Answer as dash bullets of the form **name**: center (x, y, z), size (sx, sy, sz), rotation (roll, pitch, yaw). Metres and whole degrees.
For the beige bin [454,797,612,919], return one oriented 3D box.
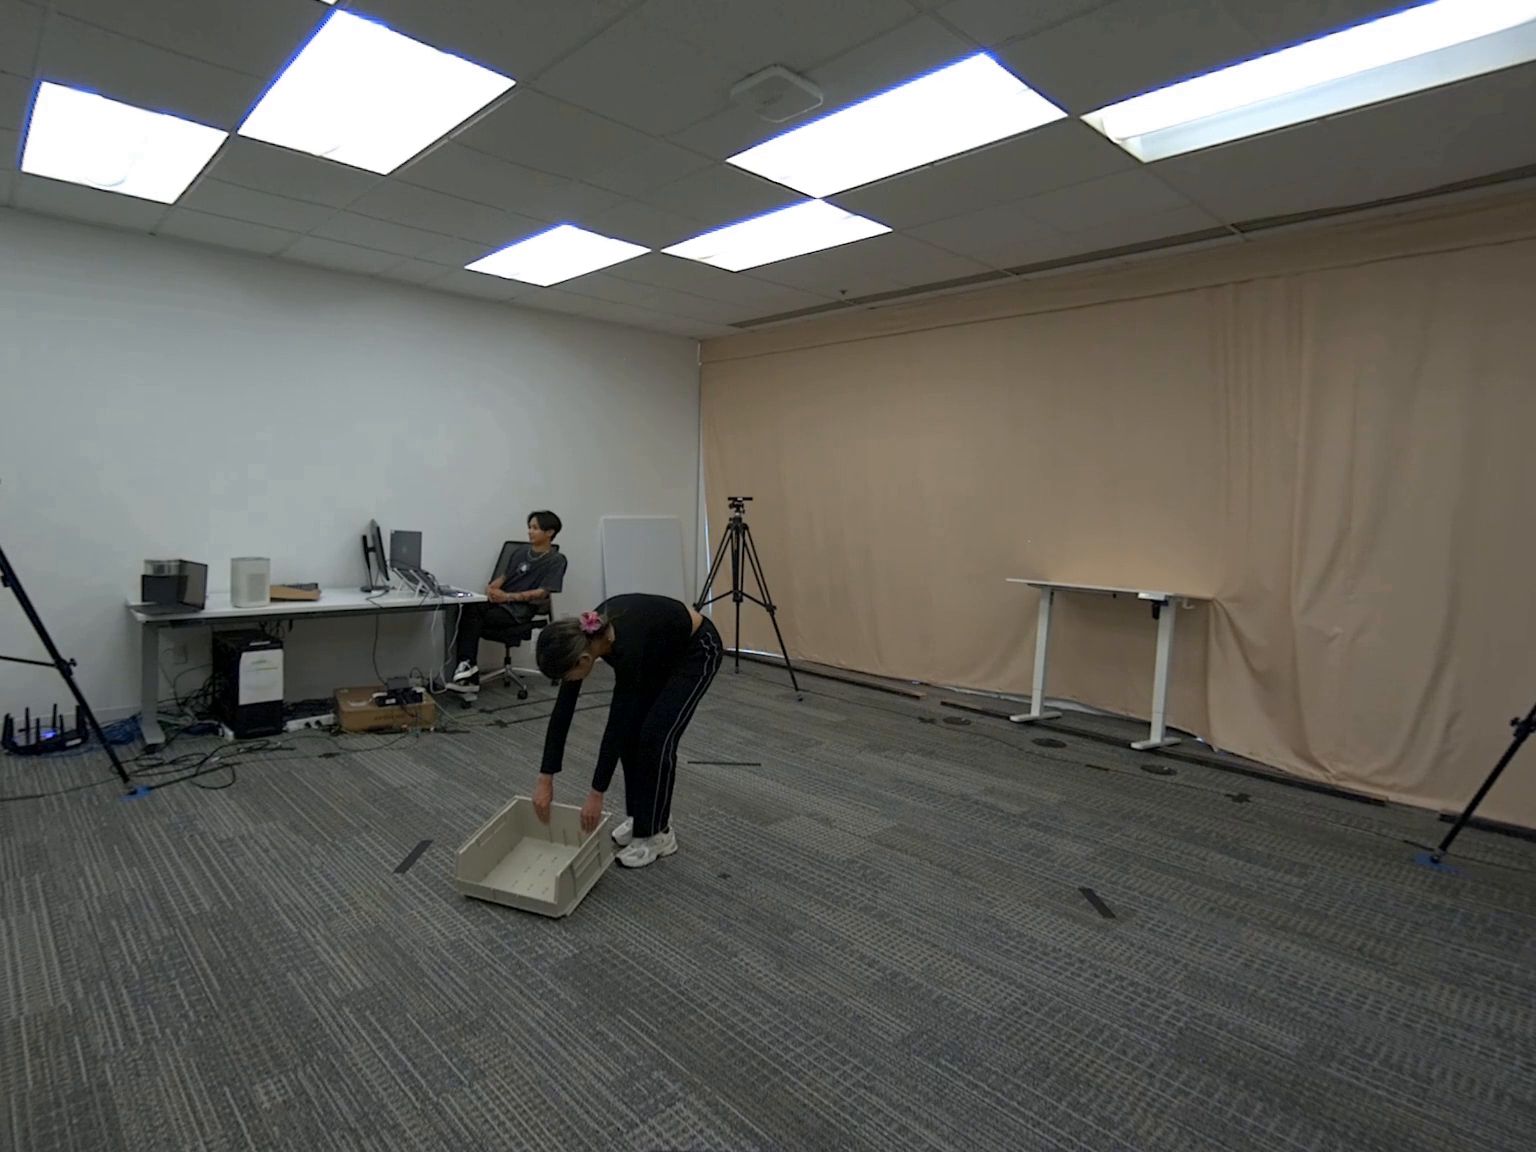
- **beige bin**: center (-0.819, 0.992, 2.942), size (0.429, 0.186, 0.376), rotation (1, 18, 19)
